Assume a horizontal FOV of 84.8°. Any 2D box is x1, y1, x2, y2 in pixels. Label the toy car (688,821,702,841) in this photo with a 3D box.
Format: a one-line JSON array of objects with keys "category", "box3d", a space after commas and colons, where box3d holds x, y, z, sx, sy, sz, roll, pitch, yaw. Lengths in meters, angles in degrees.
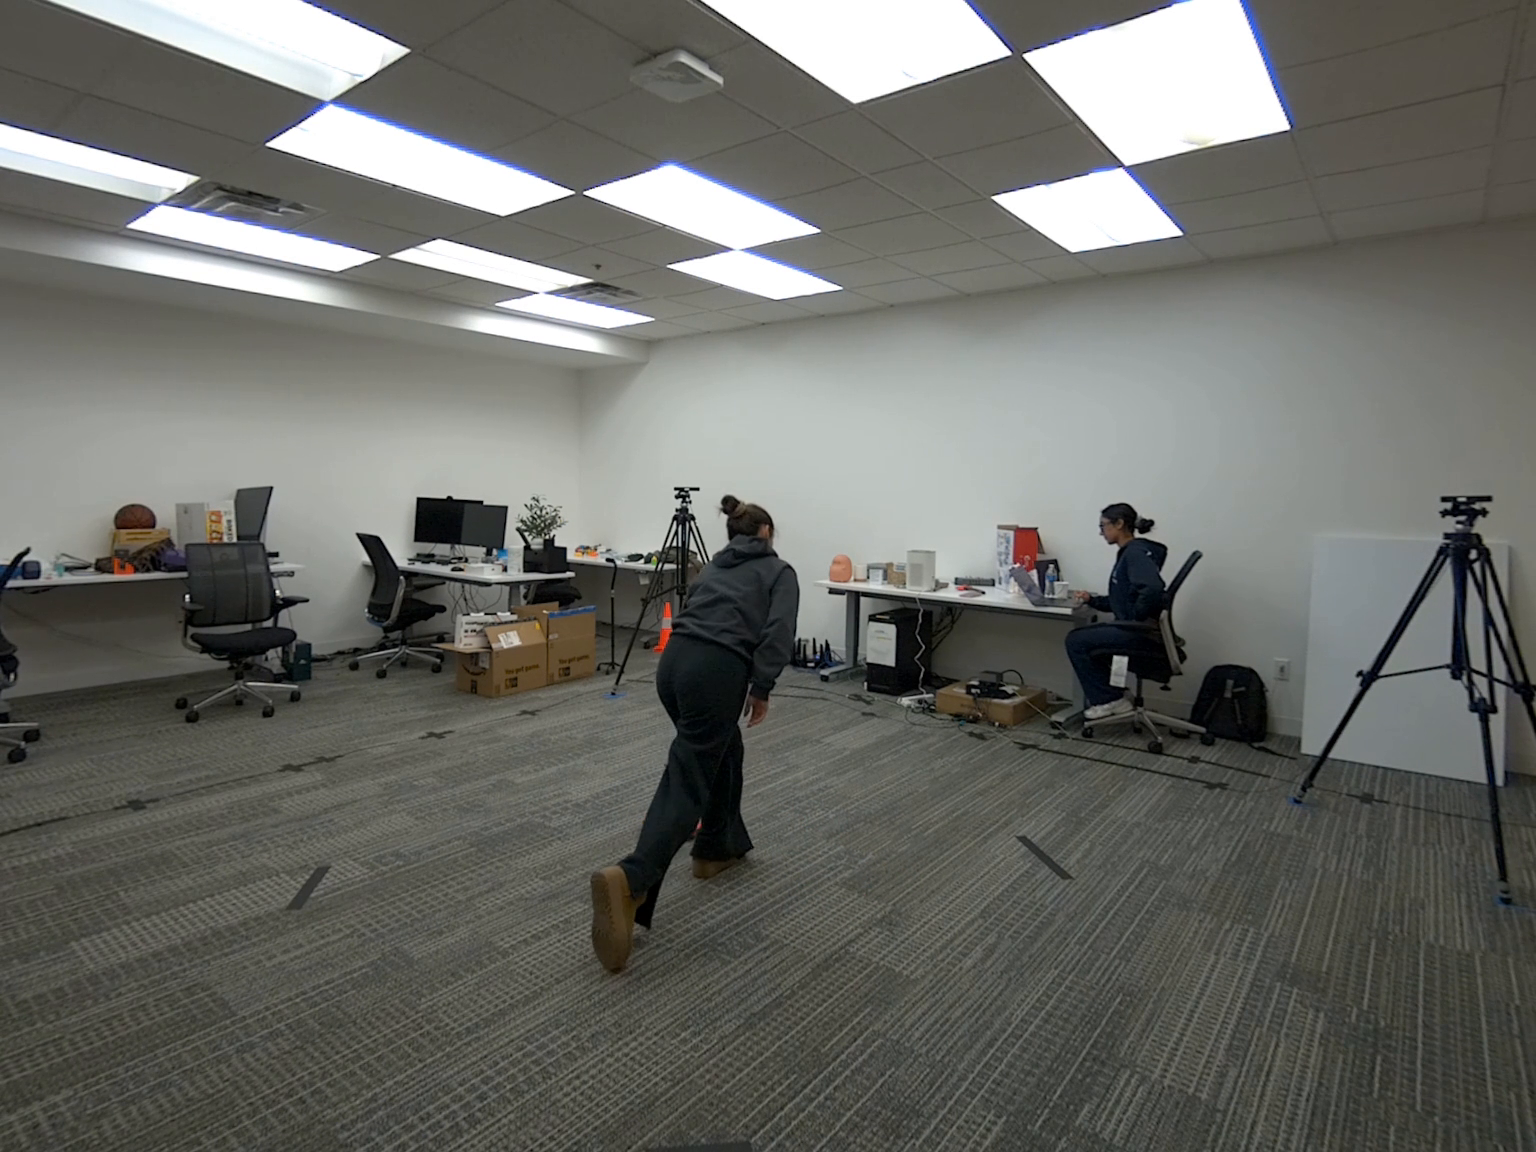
[{"category": "toy car", "box3d": [-0.370, 1.000, 3.425, 0.260, 0.083, 0.127, -9, 0, 25]}]
